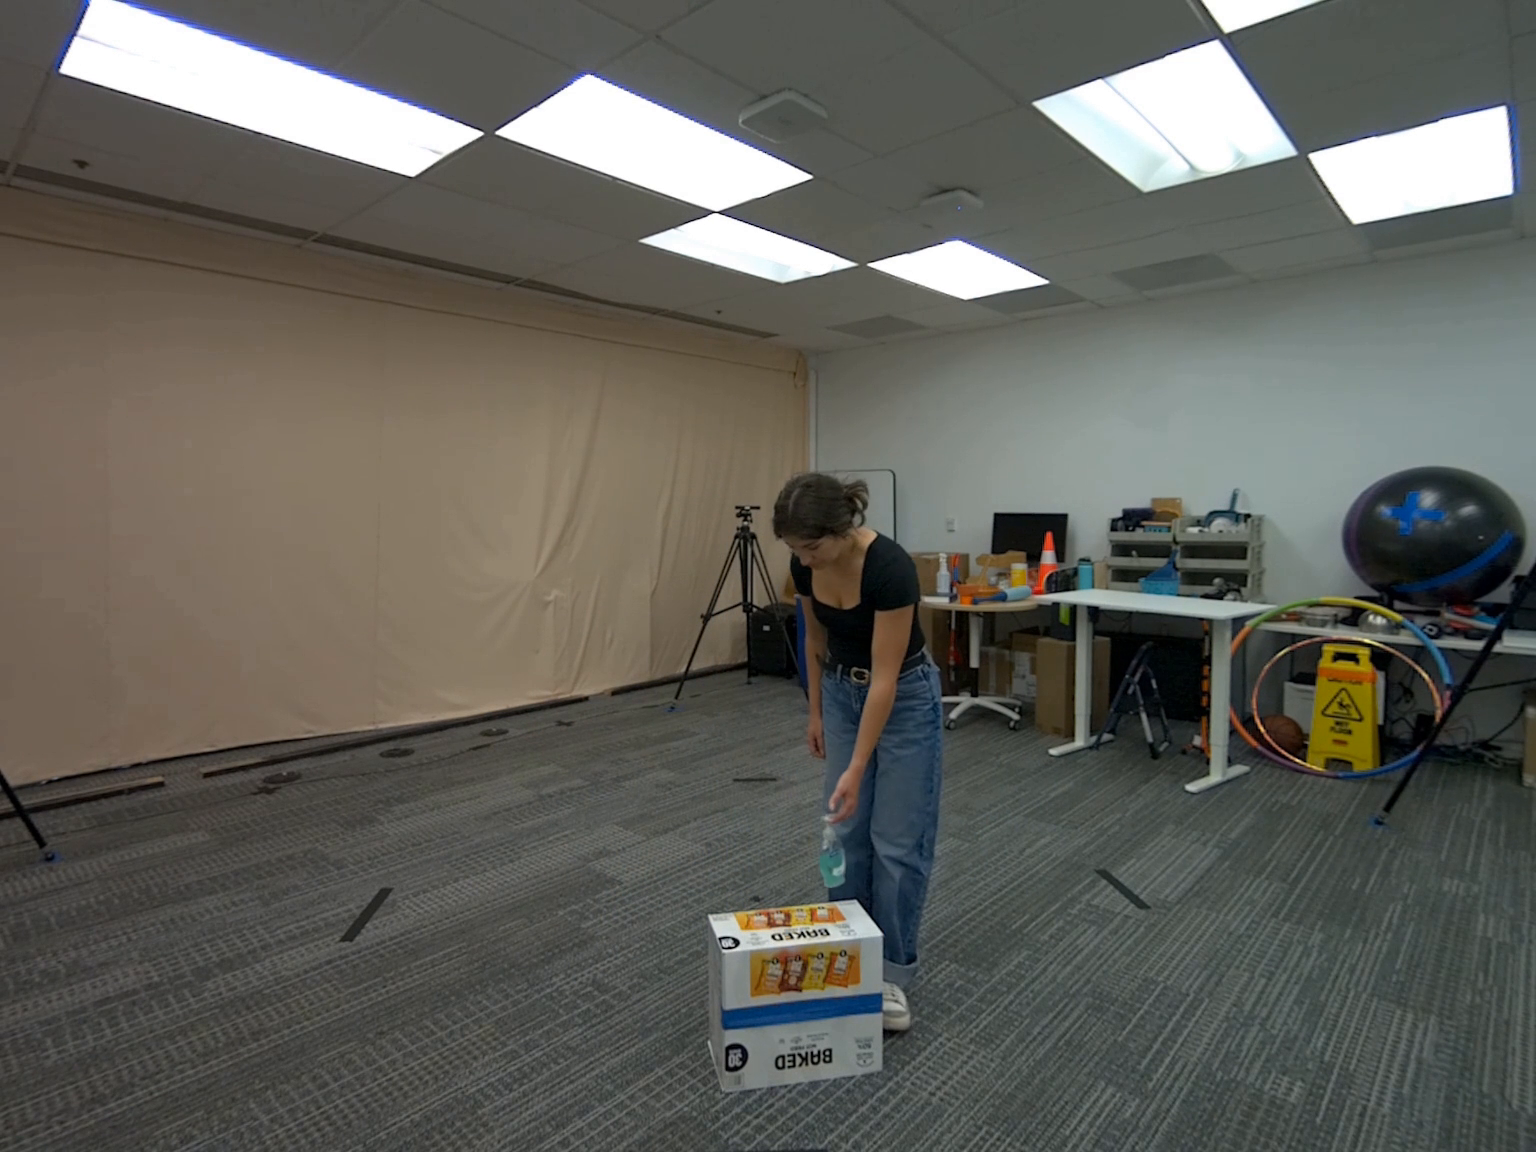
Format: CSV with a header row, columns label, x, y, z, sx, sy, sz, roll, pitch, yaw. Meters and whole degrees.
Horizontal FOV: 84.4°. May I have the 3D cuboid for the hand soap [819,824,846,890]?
label,x,y,z,sx,sy,sz,roll,pitch,yaw
hand soap,0.158,0.684,2.095,0.045,0.168,0.082,-2,-1,37
